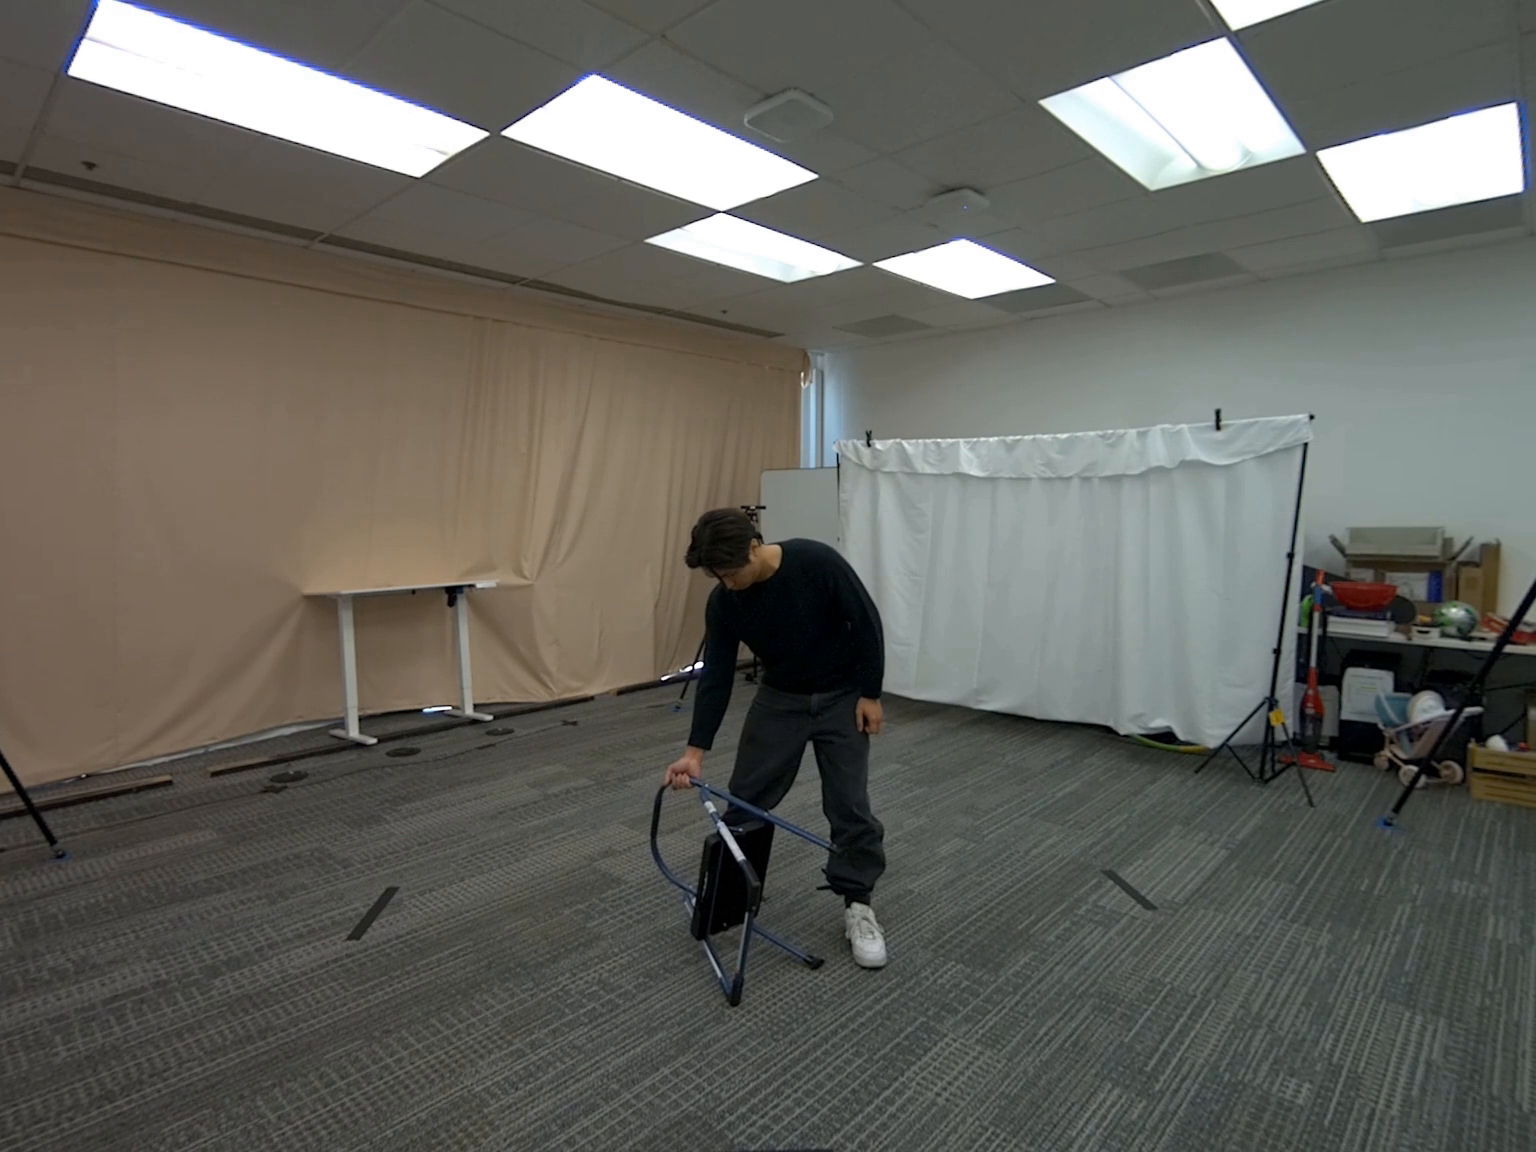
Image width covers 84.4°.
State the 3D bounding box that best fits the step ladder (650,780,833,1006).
[{"bbox_3d":[-0.120,0.891,2.593,0.339,0.427,0.629,-5,22,-39],"label":"step ladder"}]
